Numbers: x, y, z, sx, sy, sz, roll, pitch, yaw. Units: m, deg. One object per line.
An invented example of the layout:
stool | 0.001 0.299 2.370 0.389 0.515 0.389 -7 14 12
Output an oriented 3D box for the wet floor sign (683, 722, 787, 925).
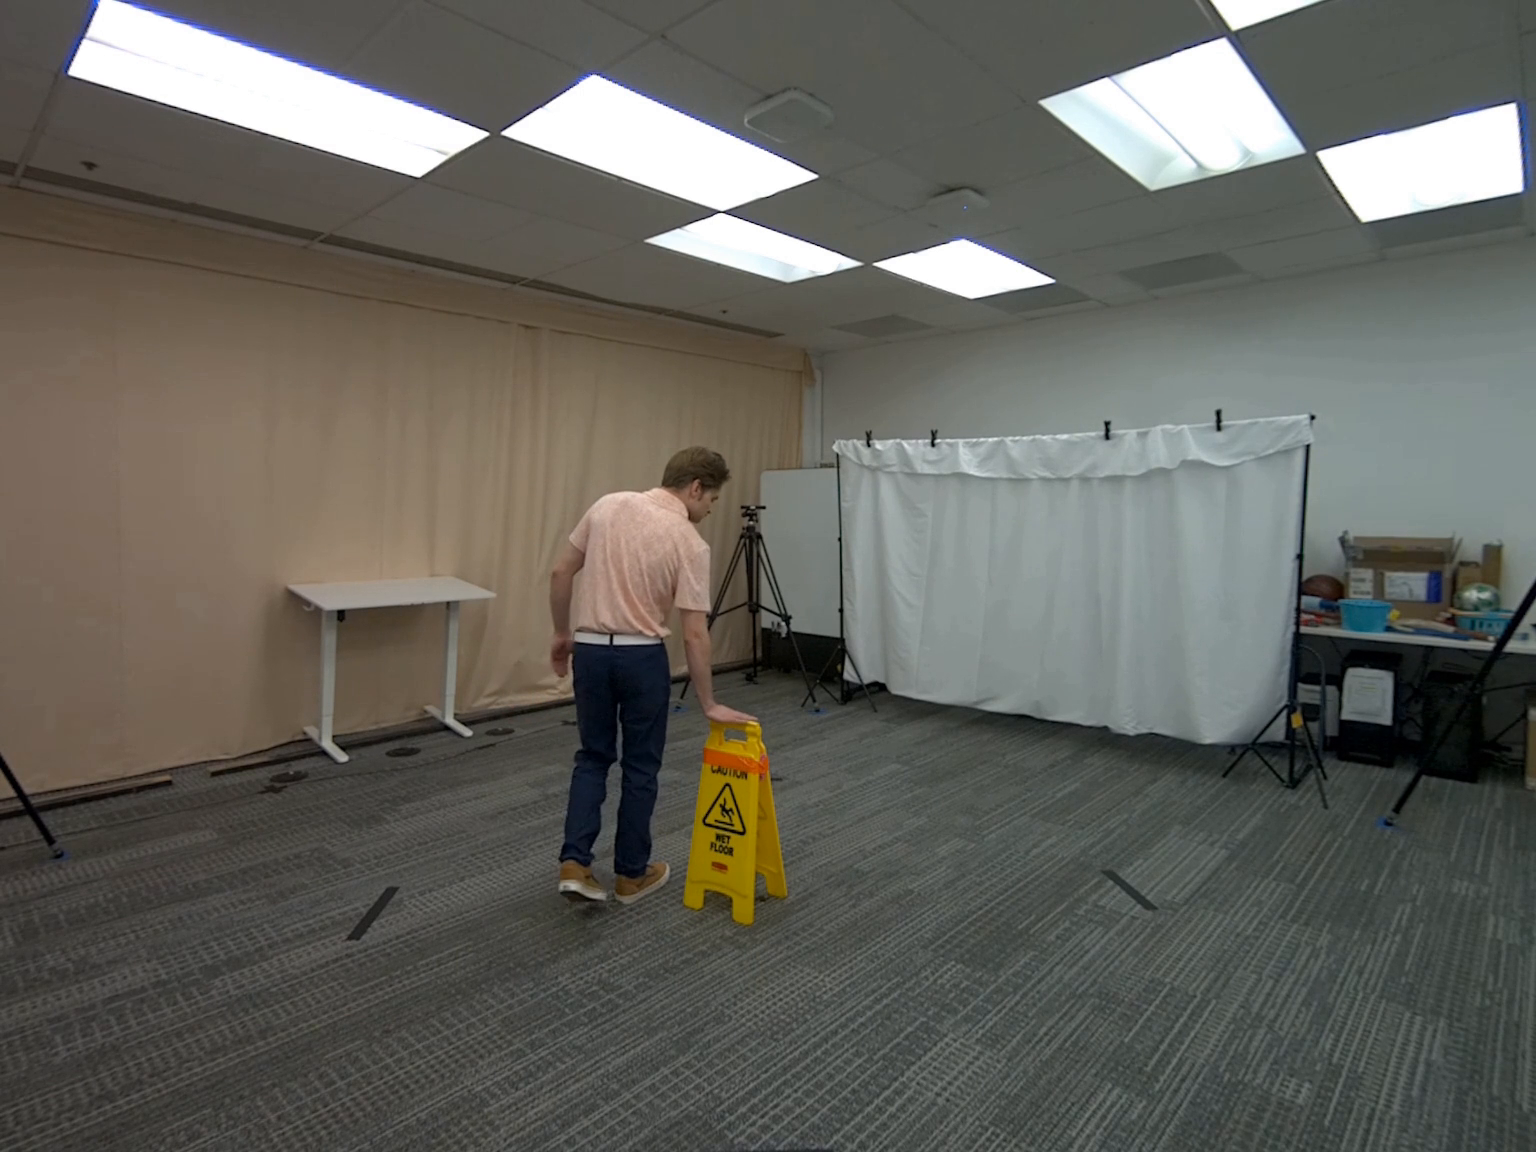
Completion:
wet floor sign | -0.109 0.824 2.949 0.291 0.645 0.281 2 3 32
